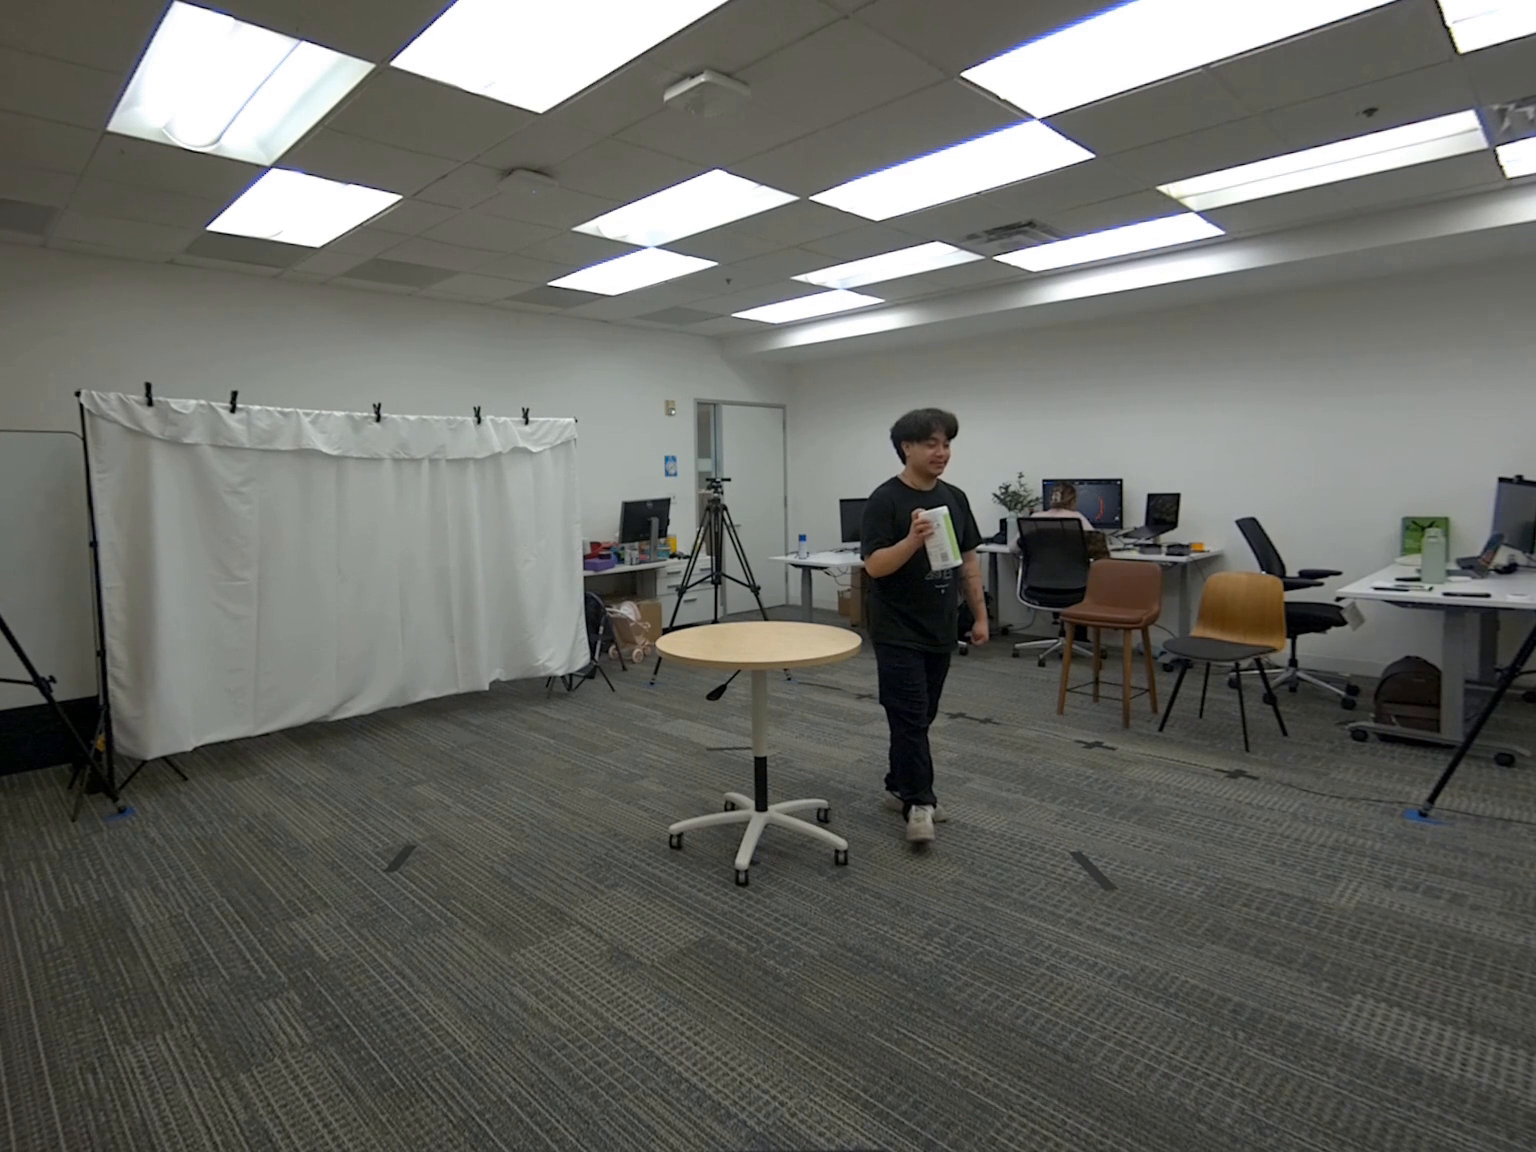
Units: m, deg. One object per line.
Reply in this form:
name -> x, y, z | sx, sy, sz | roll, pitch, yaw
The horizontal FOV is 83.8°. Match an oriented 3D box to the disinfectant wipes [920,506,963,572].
disinfectant wipes -> 0.601, -0.131, 3.037 | 0.118, 0.217, 0.118 | -13, 0, -1
